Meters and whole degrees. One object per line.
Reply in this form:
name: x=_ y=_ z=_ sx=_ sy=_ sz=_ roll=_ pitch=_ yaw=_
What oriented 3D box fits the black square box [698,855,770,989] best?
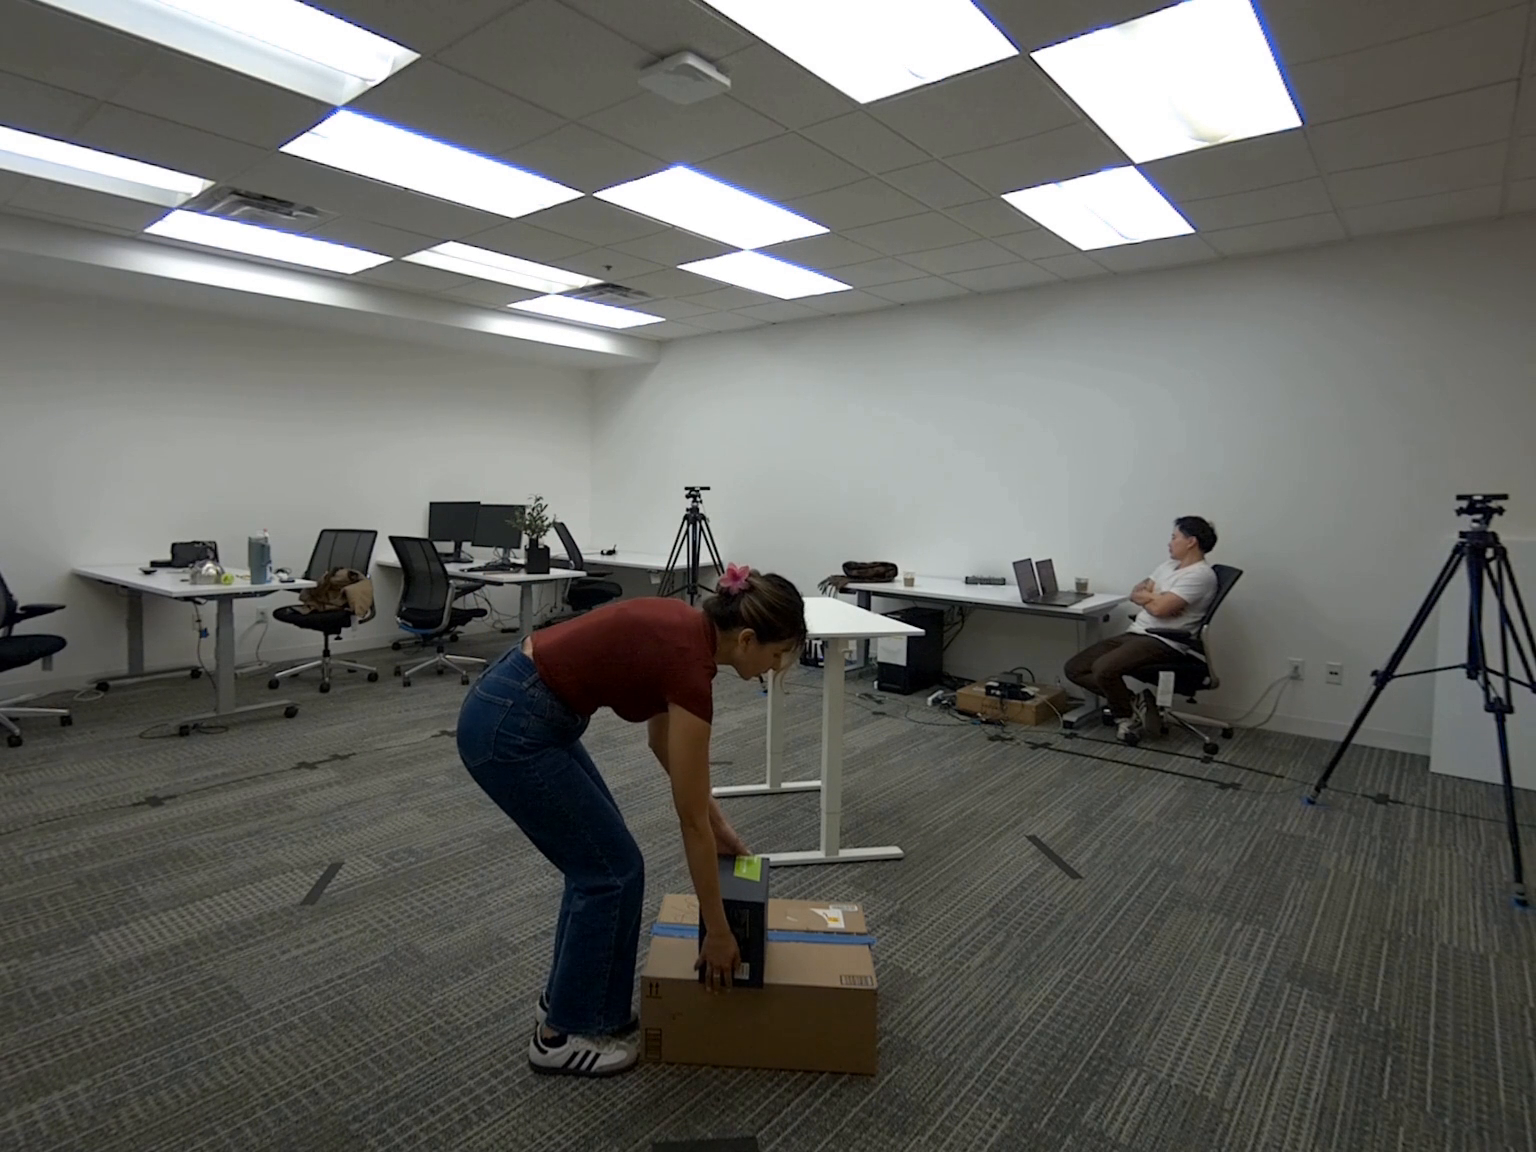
black square box: x=-0.086 y=0.842 z=2.102 sx=0.157 sy=0.215 sz=0.228 roll=1 pitch=7 yaw=5
